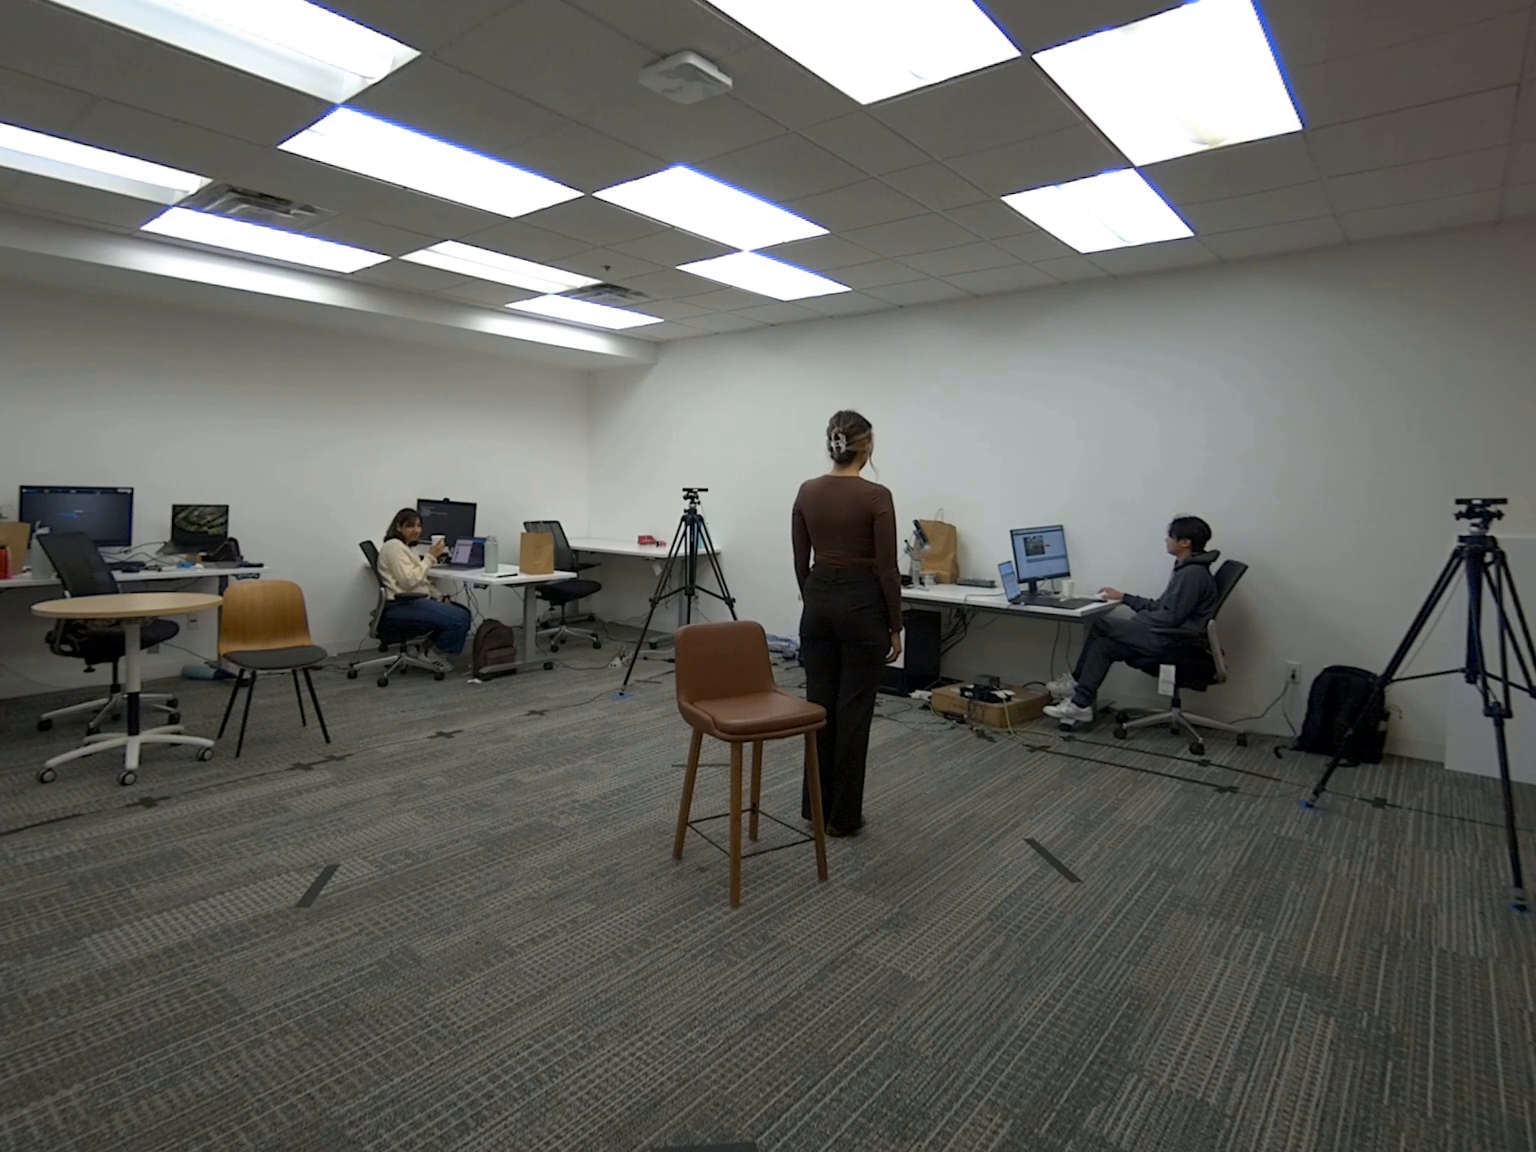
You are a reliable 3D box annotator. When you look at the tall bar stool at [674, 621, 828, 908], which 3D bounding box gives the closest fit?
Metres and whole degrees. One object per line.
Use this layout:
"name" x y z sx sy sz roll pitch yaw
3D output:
"tall bar stool" -0.080 0.639 3.104 0.443 0.889 0.482 -1 2 -34
